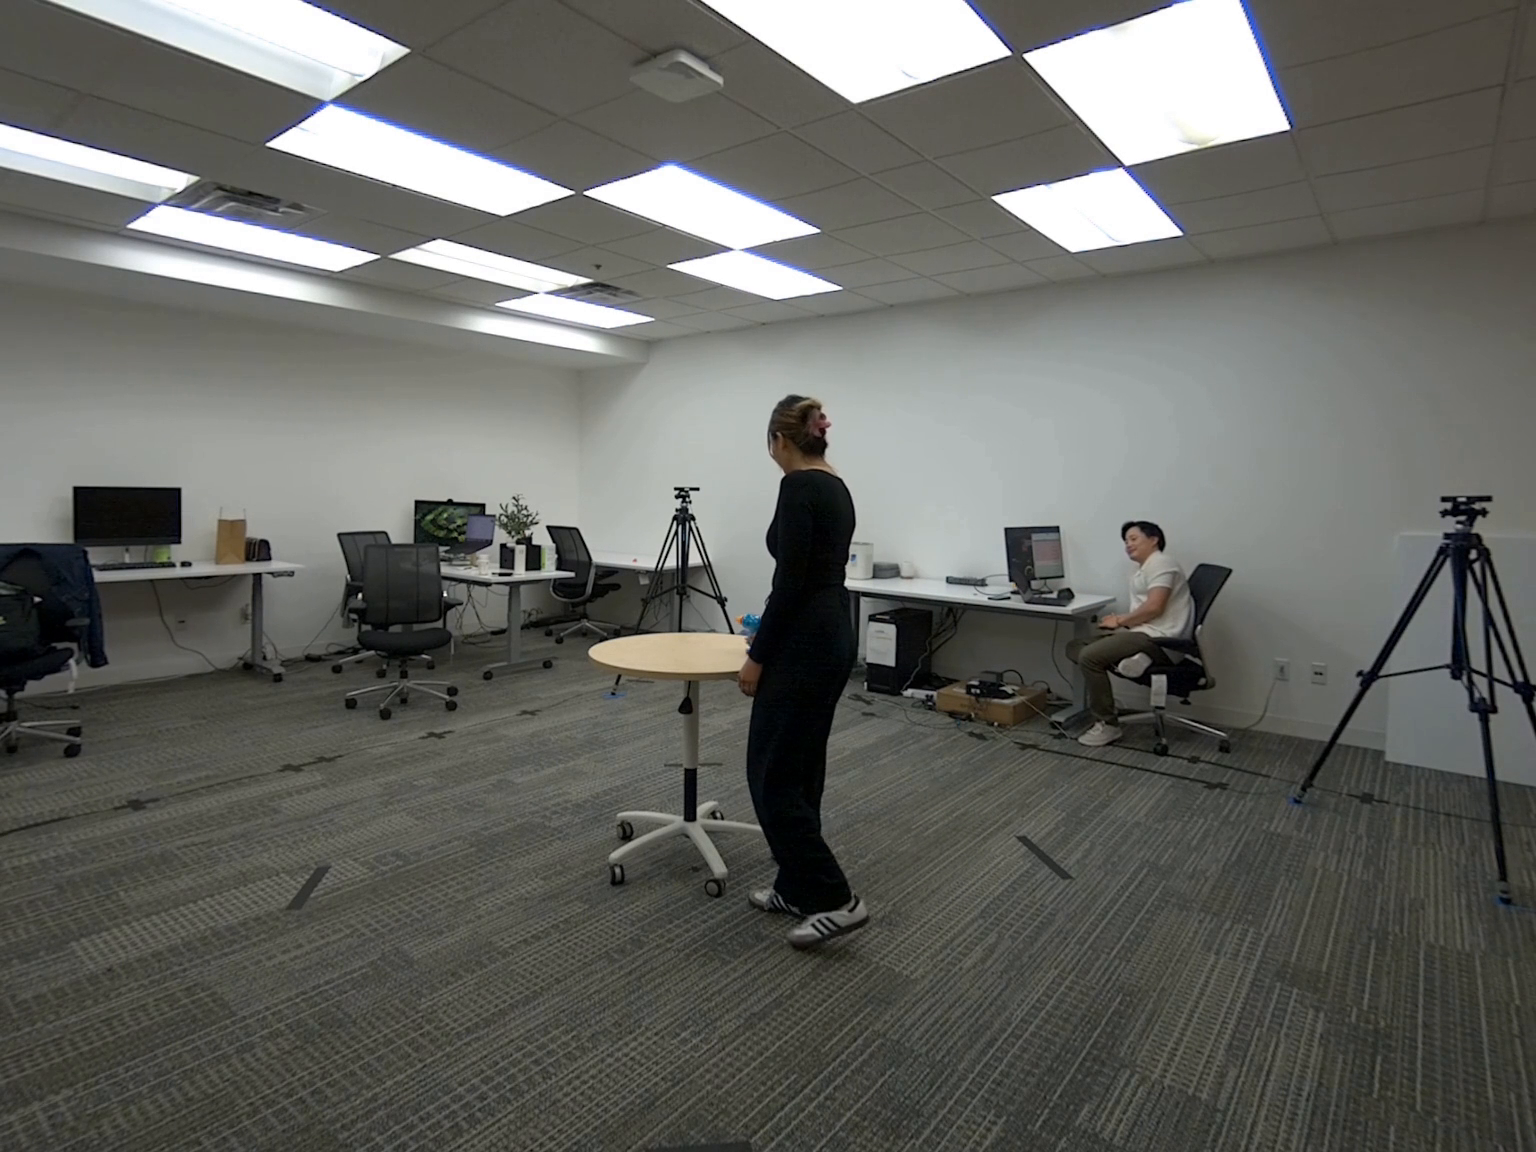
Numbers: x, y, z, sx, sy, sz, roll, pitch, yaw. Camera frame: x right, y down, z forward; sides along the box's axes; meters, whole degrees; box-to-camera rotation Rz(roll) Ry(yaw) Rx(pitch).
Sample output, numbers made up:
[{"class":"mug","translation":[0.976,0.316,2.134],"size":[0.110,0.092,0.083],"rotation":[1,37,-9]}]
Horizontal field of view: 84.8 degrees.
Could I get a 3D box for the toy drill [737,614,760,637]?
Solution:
[{"class":"toy drill","translation":[-0.081,0.204,3.153],"size":[0.059,0.145,0.175],"rotation":[0,5,-35]}]
